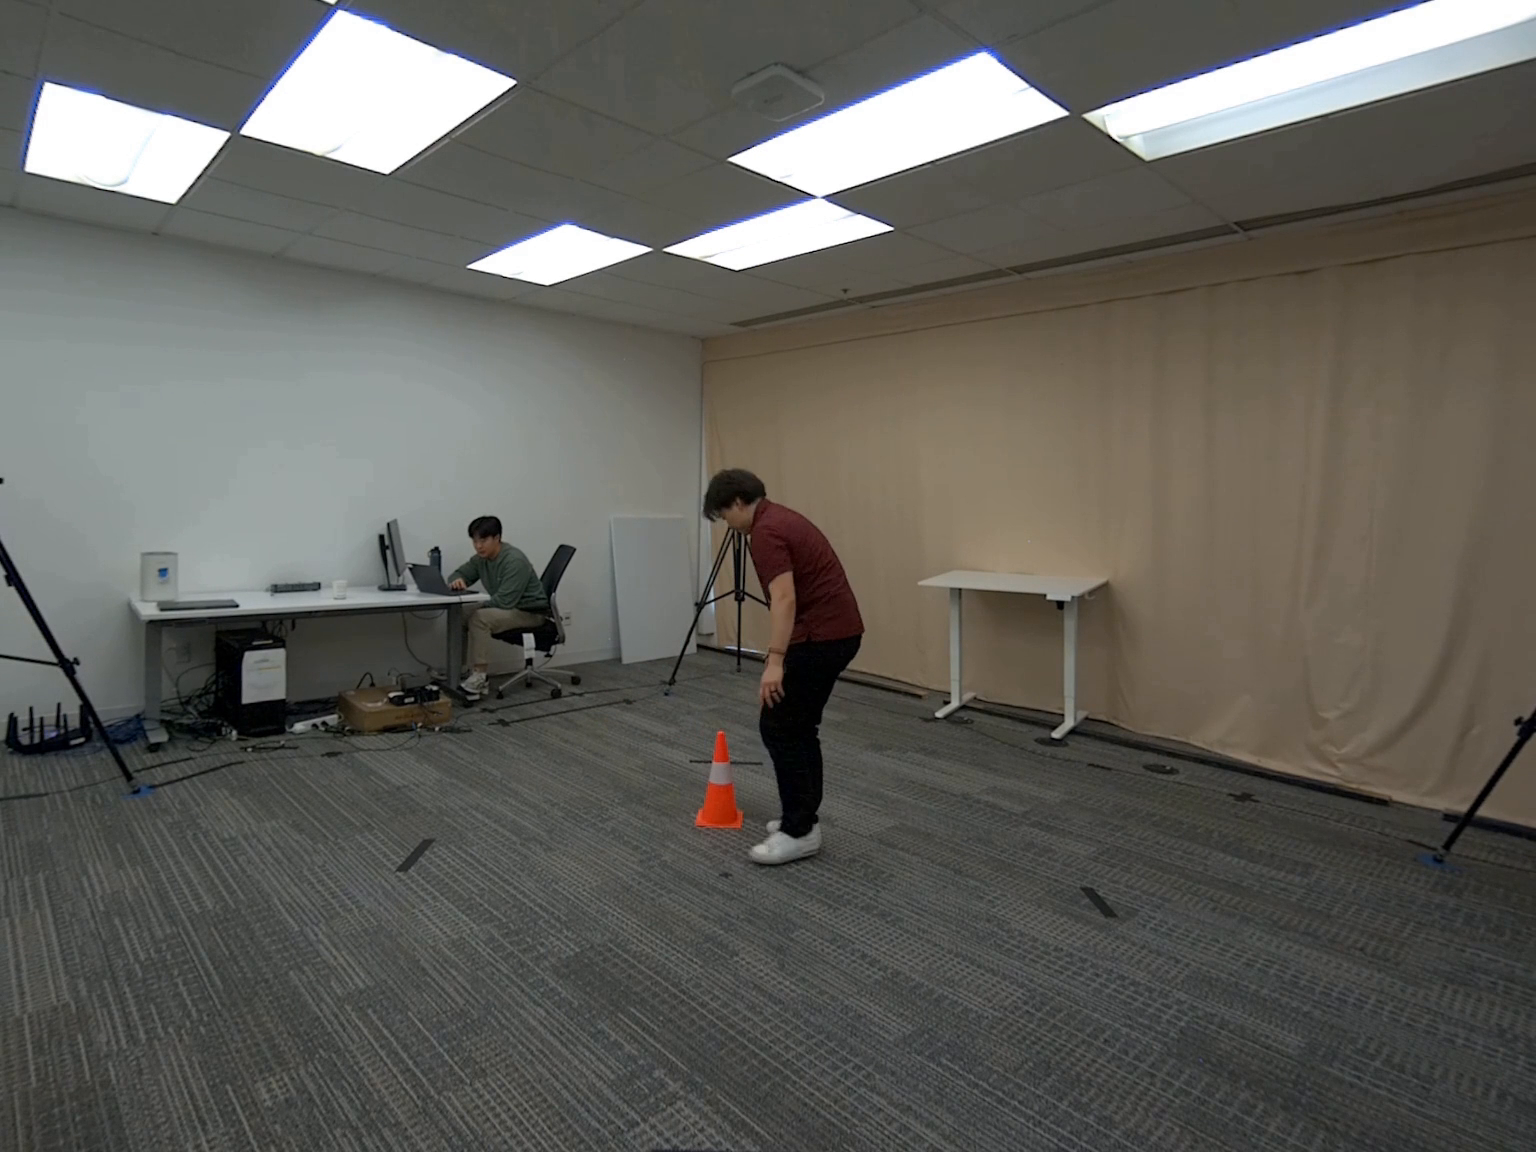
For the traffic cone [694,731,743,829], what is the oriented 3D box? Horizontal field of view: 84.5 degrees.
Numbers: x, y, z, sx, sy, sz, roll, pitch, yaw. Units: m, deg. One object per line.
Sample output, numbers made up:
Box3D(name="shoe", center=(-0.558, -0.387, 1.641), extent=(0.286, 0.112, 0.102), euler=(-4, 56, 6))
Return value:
Box3D(name="traffic cone", center=(-0.217, 0.872, 3.665), extent=(0.204, 0.383, 0.204), euler=(2, 2, 6))
